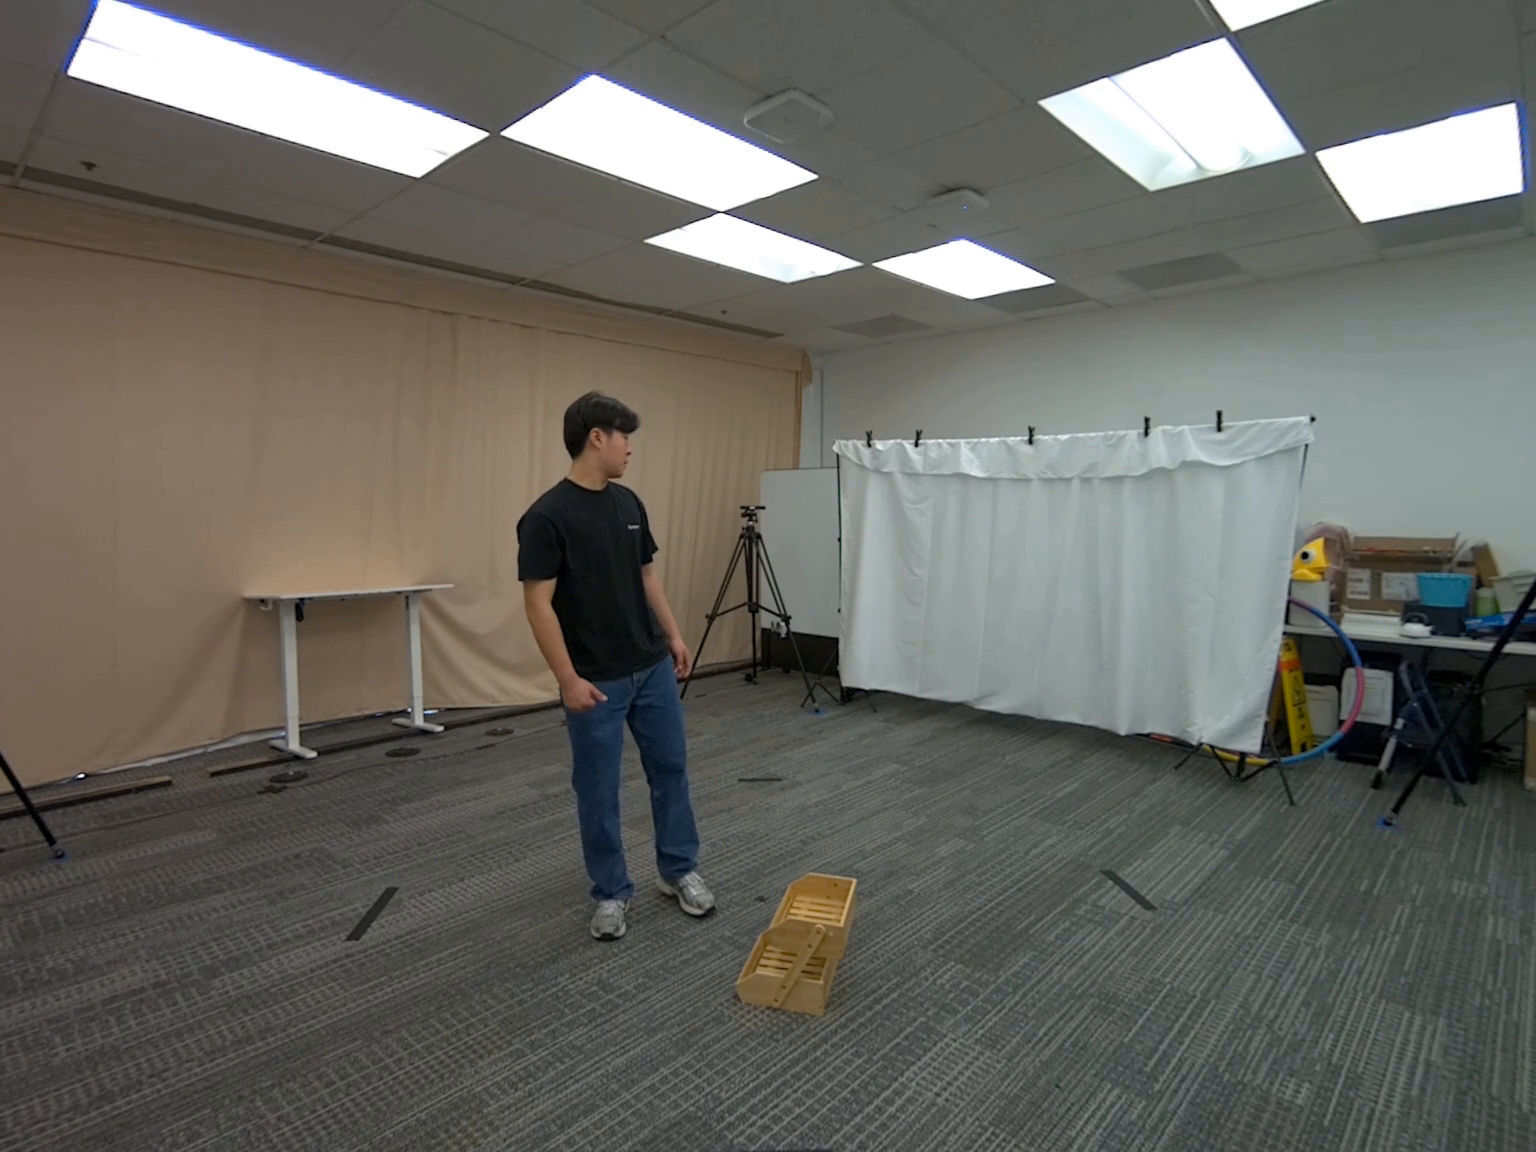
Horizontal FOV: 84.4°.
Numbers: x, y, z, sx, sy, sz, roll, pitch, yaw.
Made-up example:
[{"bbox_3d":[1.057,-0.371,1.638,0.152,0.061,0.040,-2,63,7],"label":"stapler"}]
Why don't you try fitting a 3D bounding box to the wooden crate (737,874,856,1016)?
[{"bbox_3d":[0.090,1.054,2.455,0.307,0.273,0.320,2,4,15],"label":"wooden crate"}]
